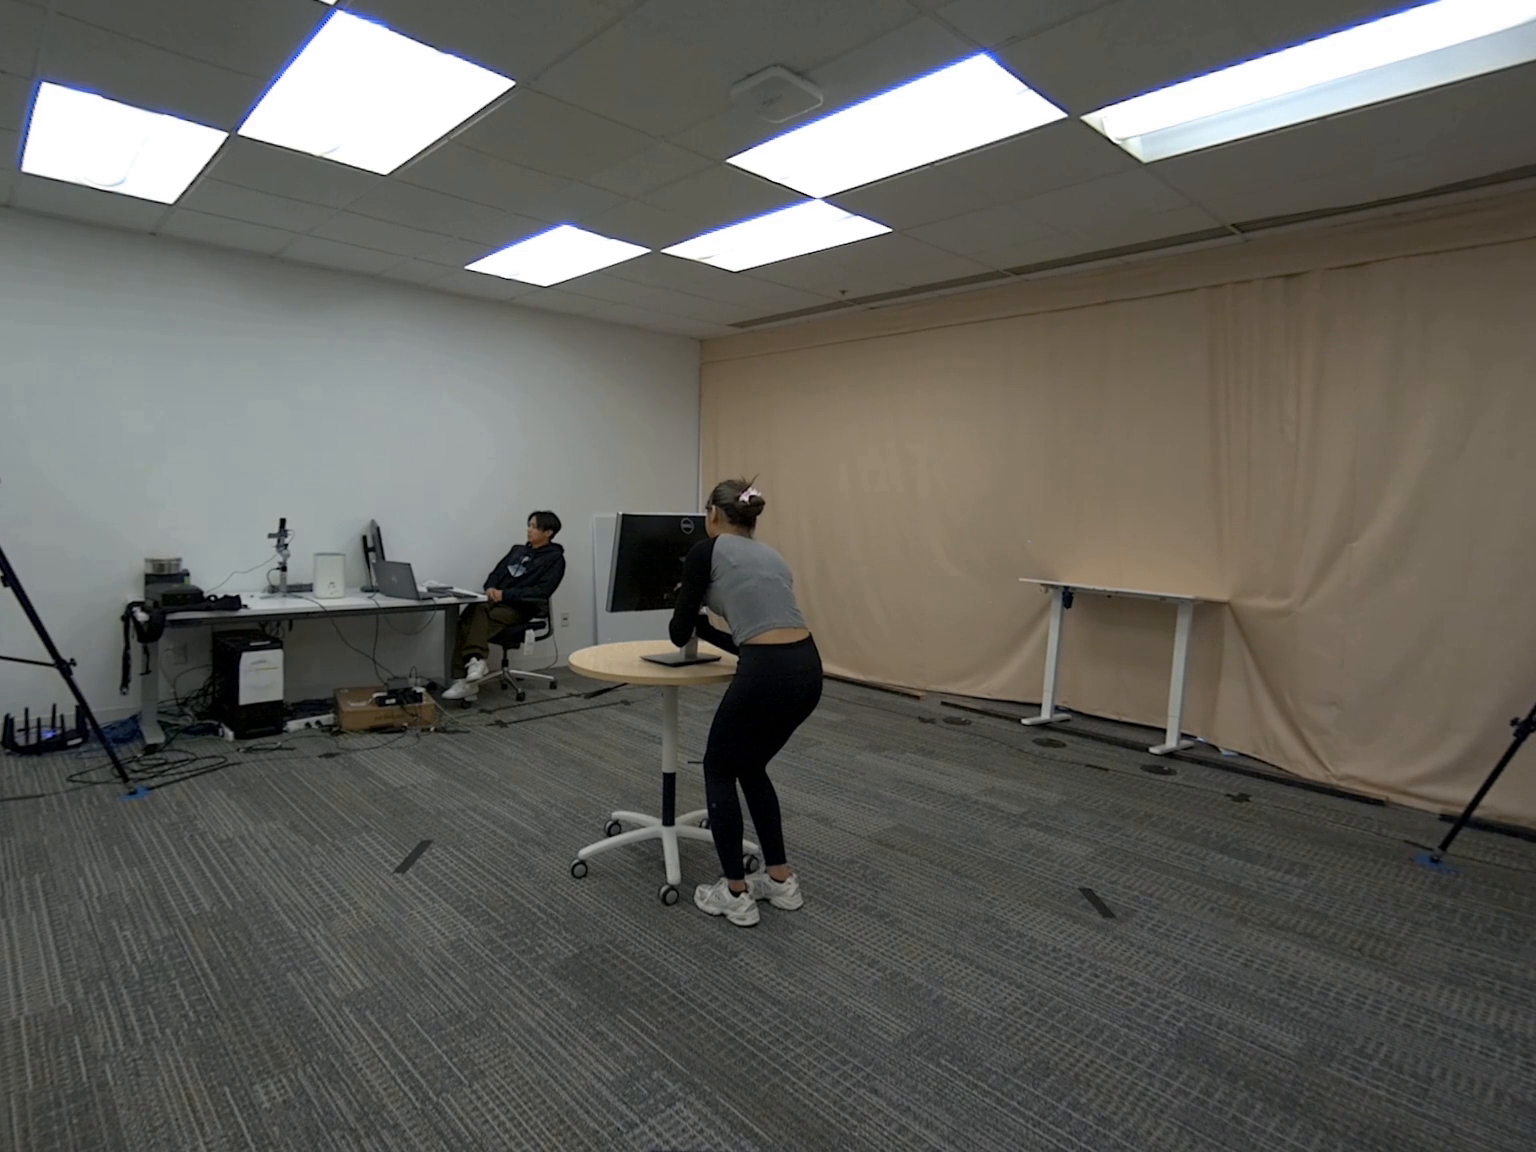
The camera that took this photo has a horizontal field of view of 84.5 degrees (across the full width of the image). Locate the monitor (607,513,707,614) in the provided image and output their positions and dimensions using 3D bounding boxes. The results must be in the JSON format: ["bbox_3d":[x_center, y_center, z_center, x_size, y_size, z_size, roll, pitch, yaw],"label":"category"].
[{"bbox_3d":[-0.322,0.041,3.107,0.526,0.522,0.191,-1,1,-43],"label":"monitor"}]
